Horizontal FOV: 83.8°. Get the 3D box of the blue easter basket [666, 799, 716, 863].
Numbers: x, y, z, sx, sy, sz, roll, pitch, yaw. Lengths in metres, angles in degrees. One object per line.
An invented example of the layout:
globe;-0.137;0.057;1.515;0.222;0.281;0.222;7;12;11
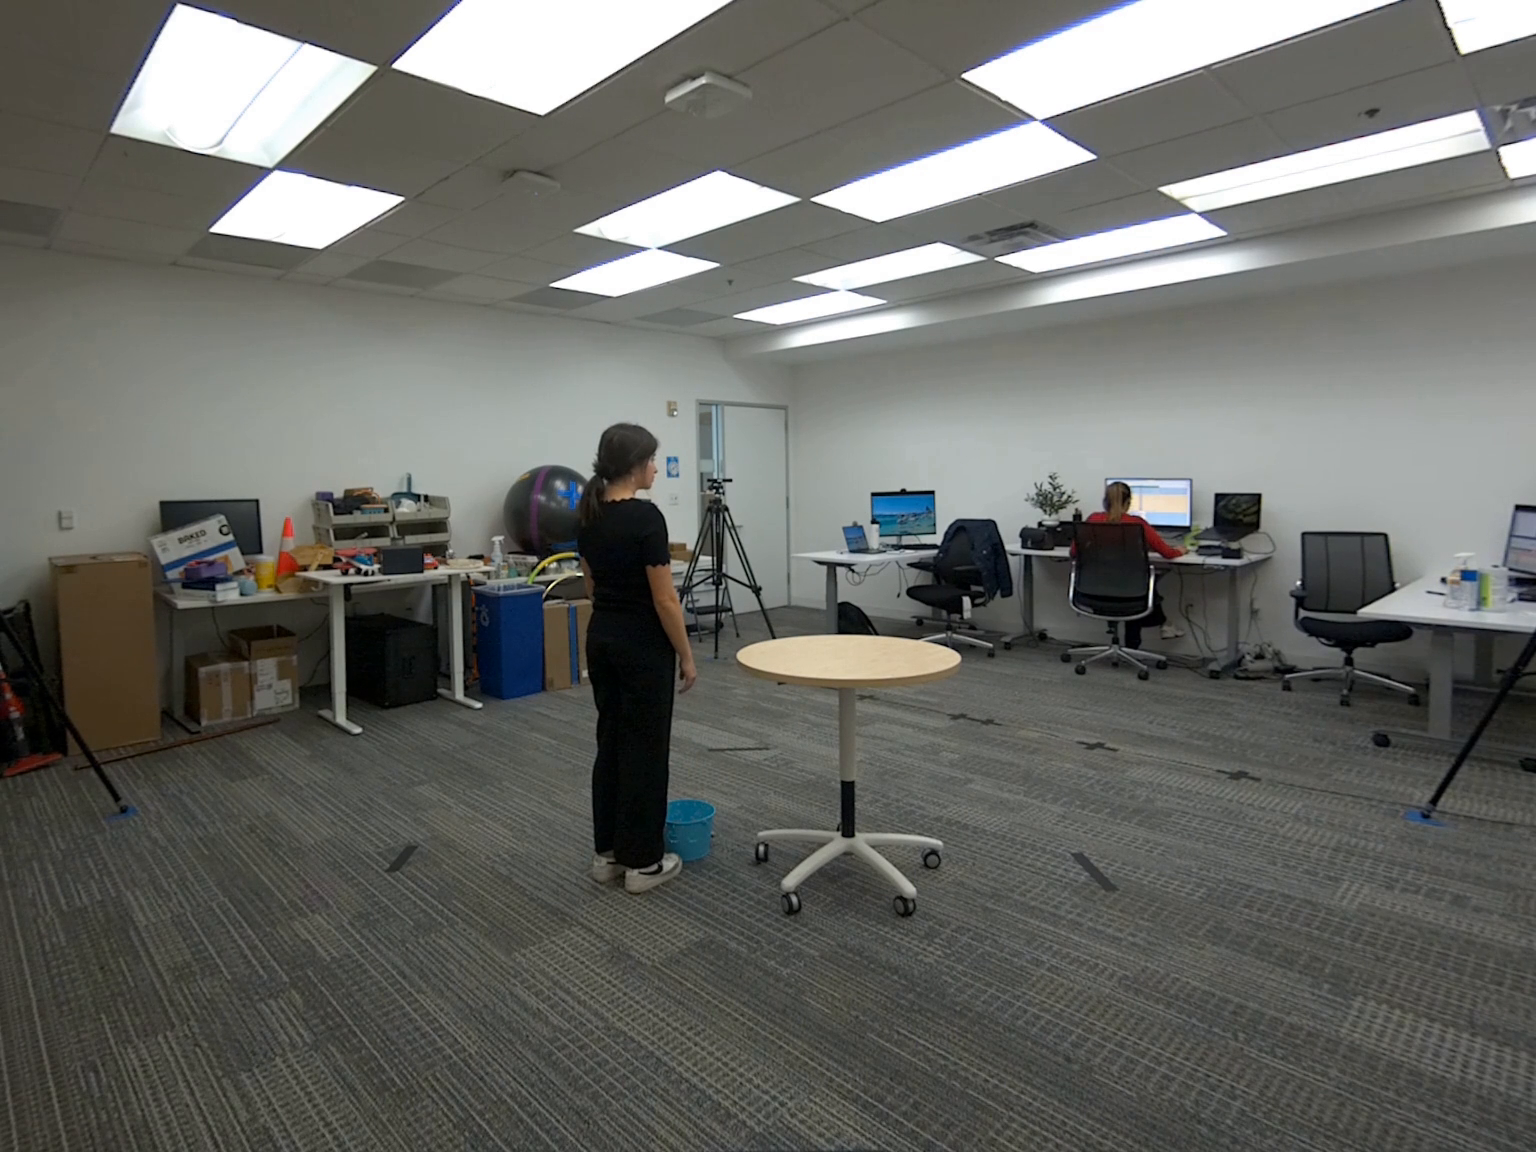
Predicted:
blue easter basket;-0.307;0.957;3.222;0.243;0.155;0.245;-1;6;-2
